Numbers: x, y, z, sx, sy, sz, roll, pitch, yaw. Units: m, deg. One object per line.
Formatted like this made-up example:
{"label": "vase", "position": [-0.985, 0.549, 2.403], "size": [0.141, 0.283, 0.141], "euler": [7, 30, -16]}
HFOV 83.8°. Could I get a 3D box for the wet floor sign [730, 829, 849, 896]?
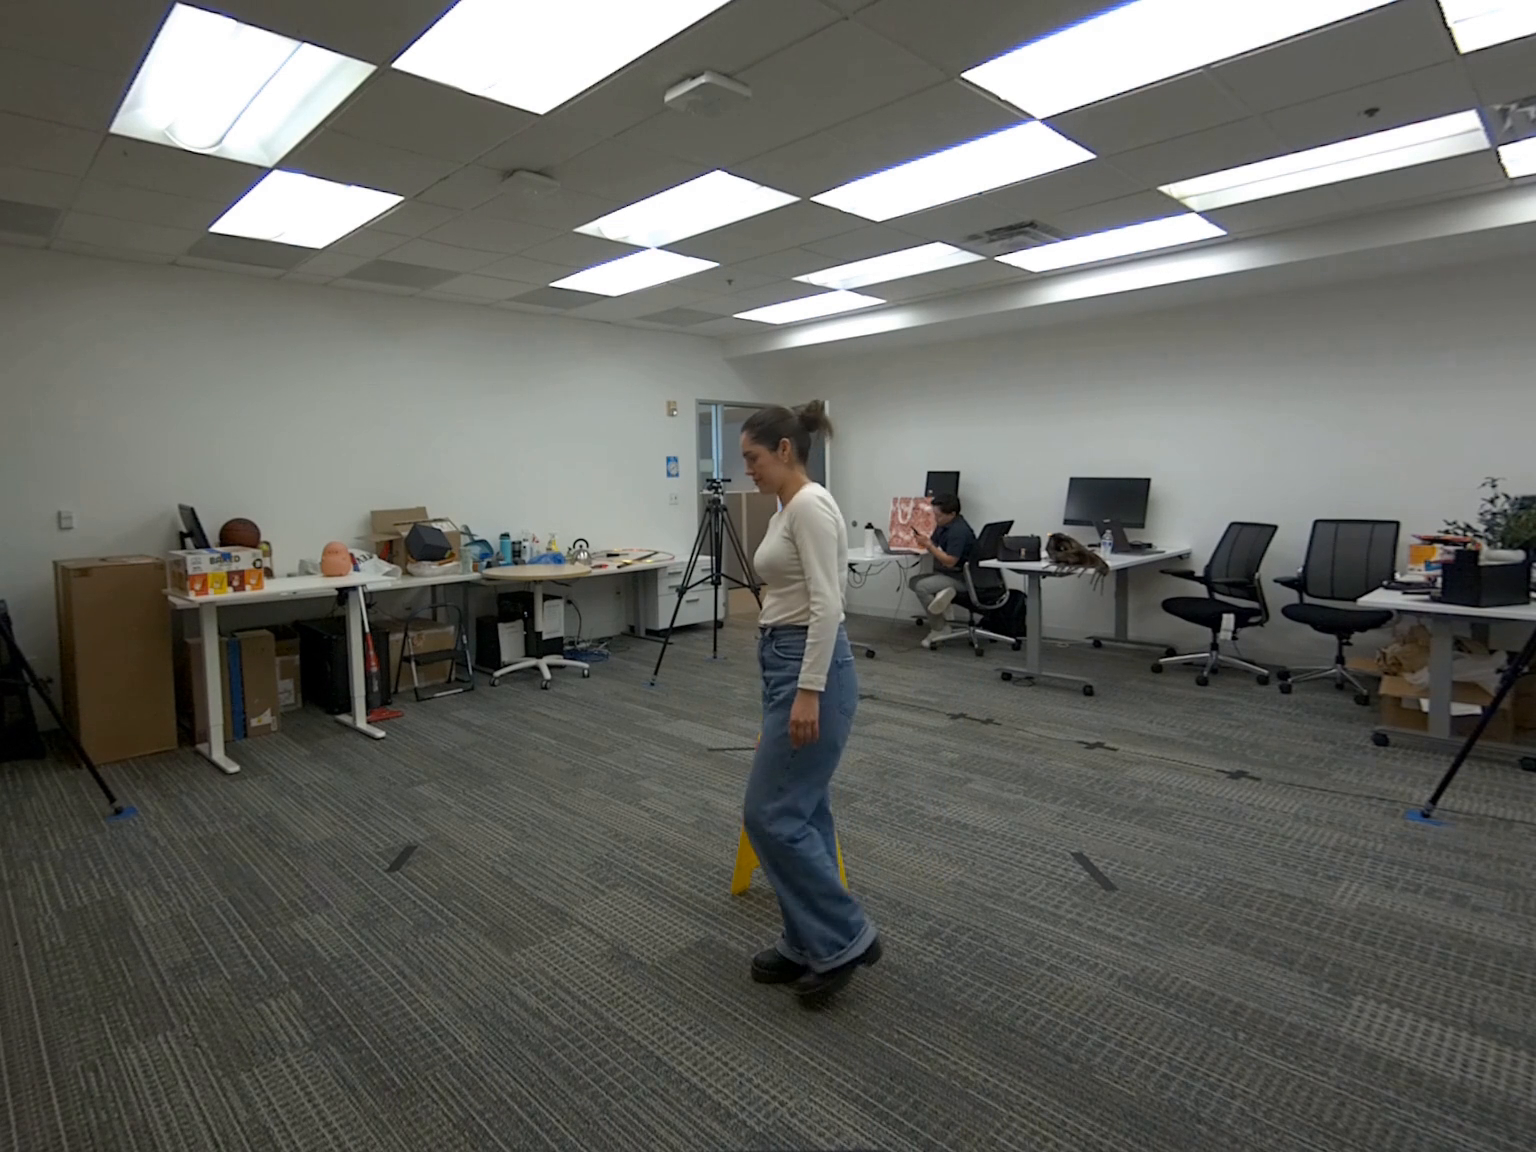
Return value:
{"label": "wet floor sign", "position": [0.078, 0.748, 2.848], "size": [0.299, 0.643, 0.275], "euler": [4, 6, 45]}
